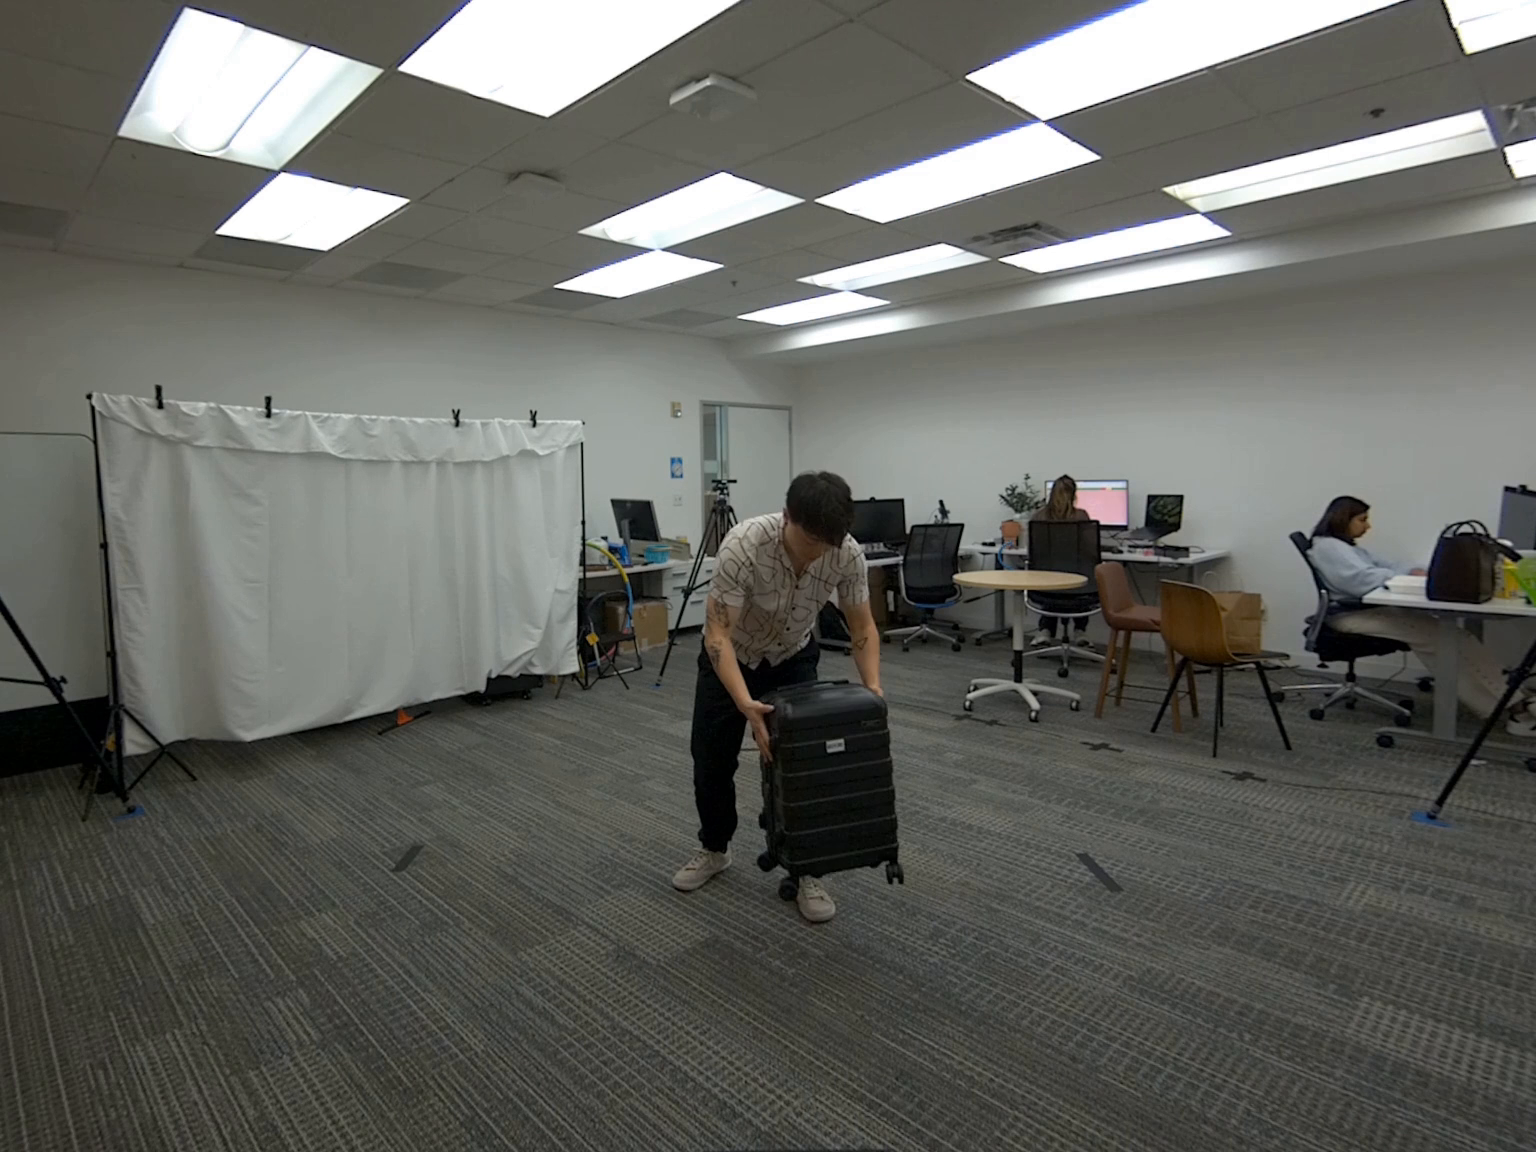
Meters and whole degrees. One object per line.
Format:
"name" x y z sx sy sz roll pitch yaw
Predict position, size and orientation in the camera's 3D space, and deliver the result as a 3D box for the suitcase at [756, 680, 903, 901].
"suitcase" 0.166 0.589 2.468 0.371 0.549 0.251 -5 0 -14
